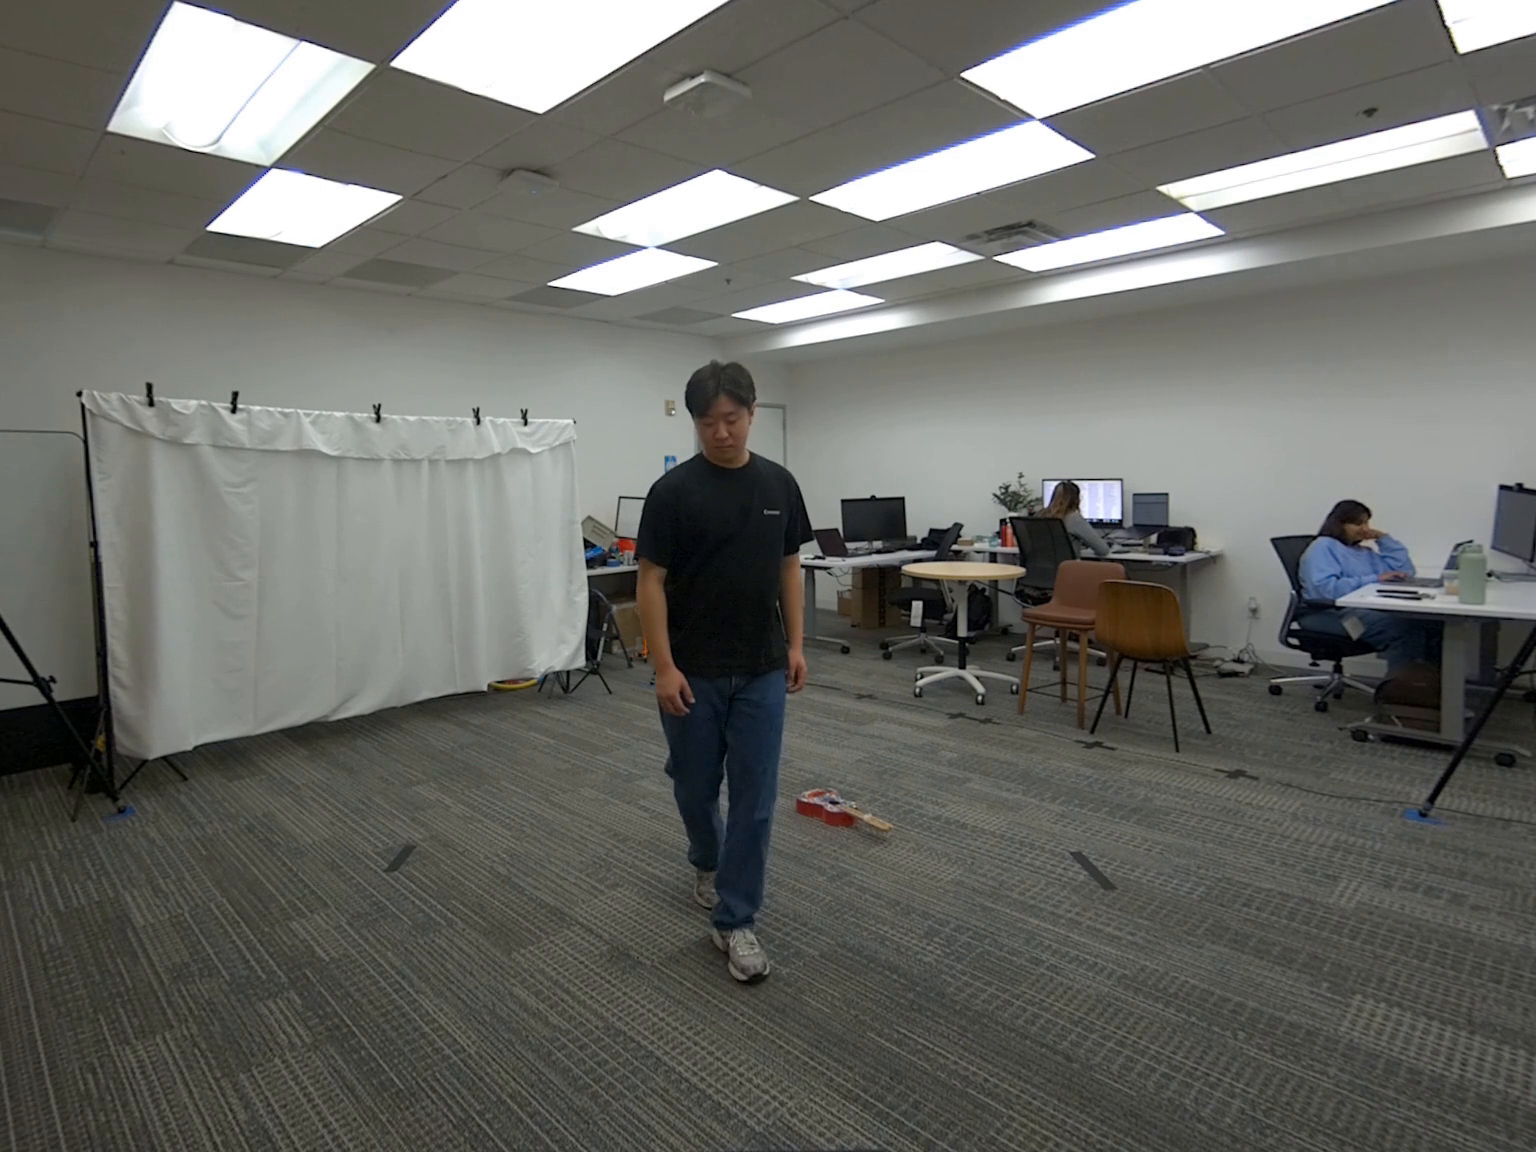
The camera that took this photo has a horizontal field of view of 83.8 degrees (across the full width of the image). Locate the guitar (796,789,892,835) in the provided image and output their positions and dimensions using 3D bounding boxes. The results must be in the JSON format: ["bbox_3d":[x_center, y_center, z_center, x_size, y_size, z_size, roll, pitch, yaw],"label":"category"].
[{"bbox_3d":[0.297,0.964,3.441,0.189,0.070,0.510,-3,6,-26],"label":"guitar"}]
